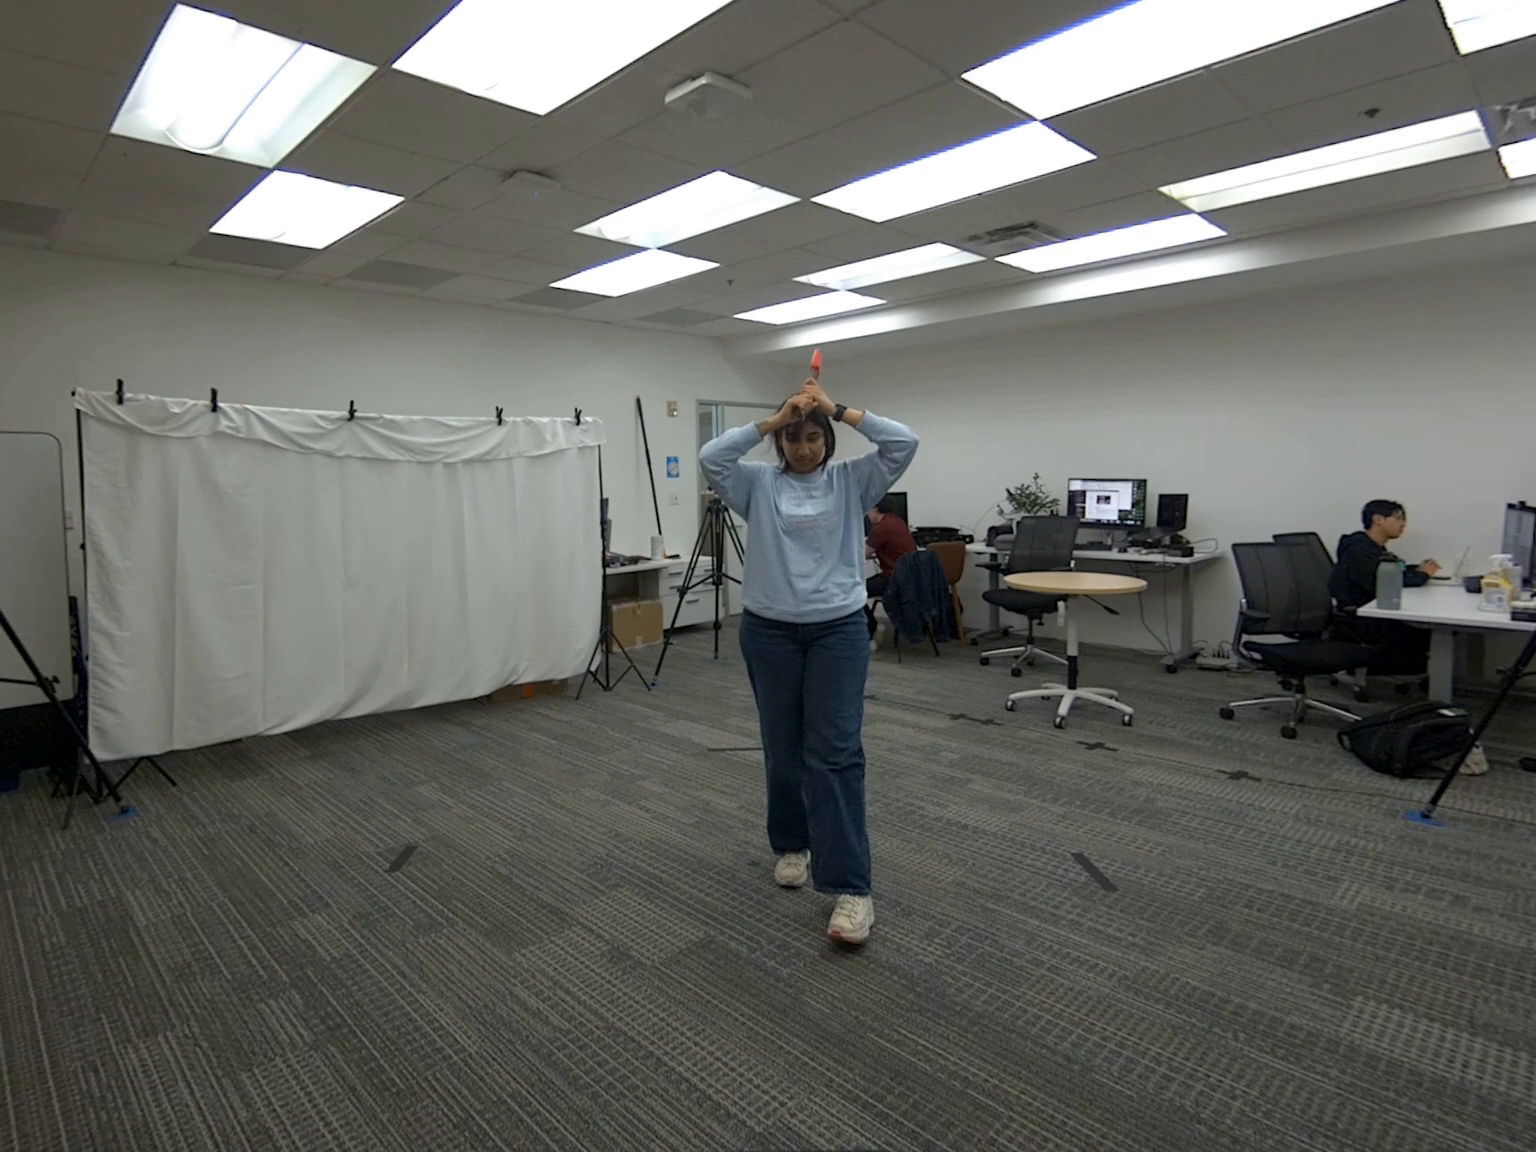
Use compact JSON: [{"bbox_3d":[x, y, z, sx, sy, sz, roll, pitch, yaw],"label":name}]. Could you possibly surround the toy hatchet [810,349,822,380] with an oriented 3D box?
[{"bbox_3d":[0.138,-0.621,2.686,0.030,0.128,0.274,13,43,6],"label":"toy hatchet"}]
